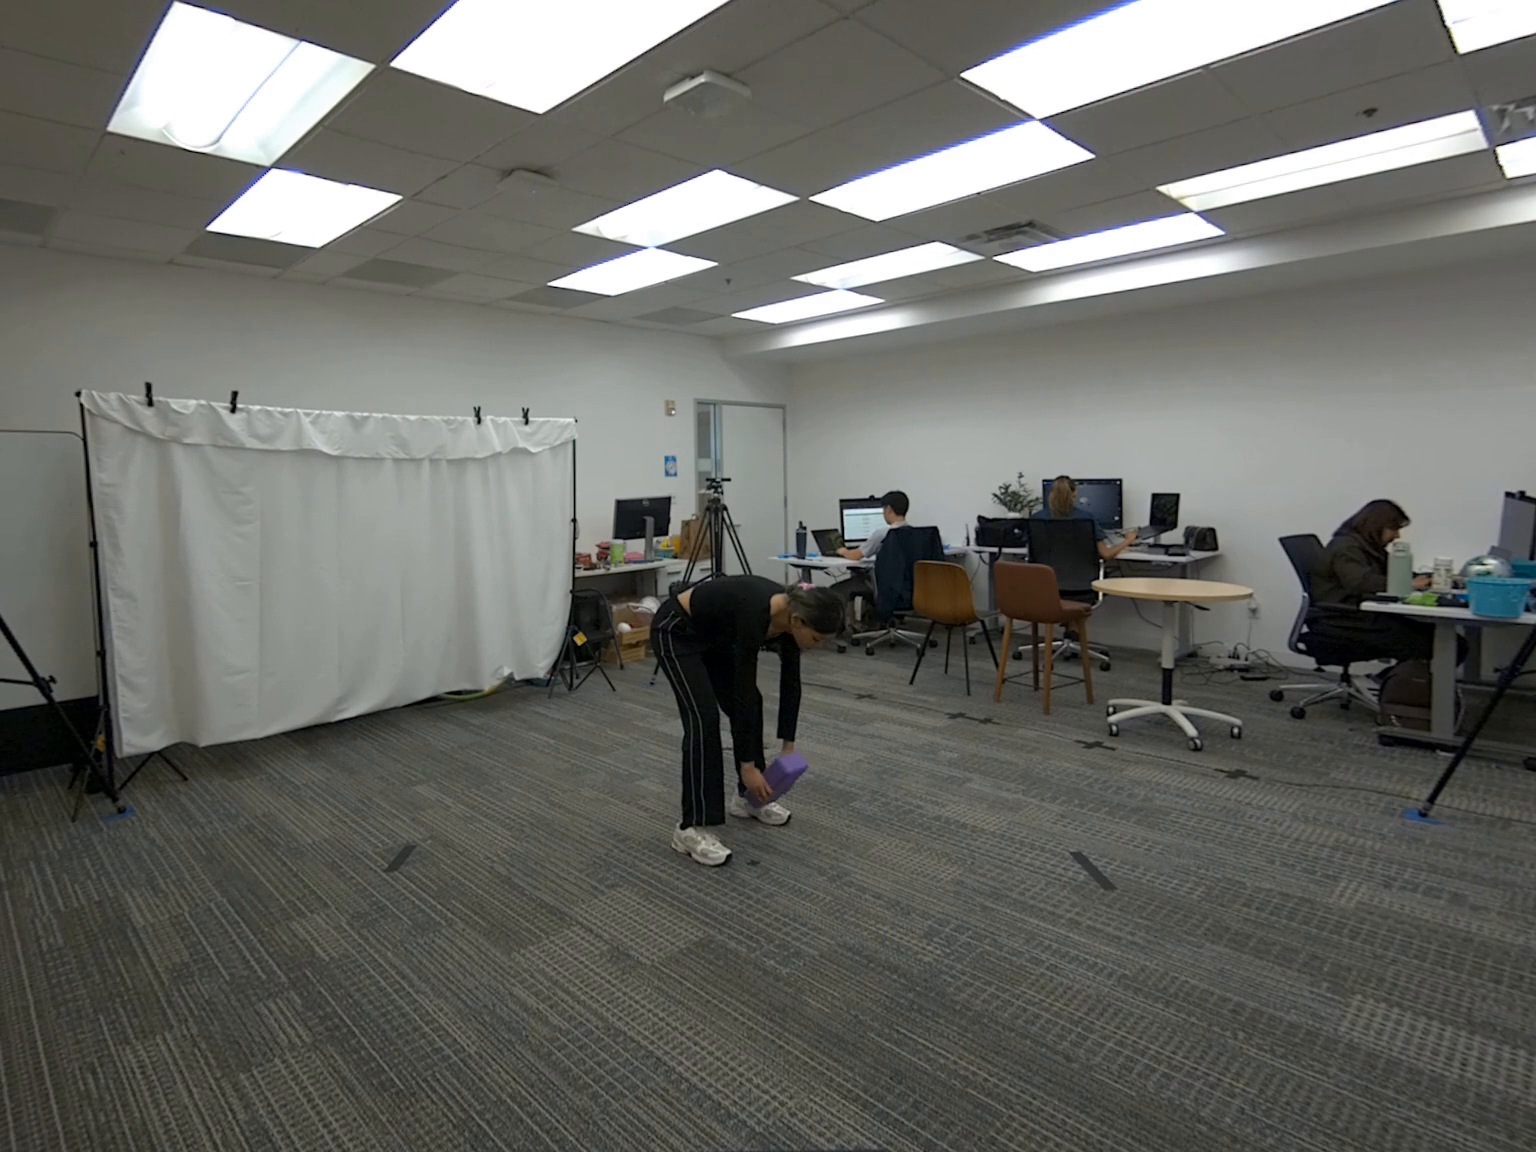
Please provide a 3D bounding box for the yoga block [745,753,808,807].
[{"bbox_3d":[0.030,0.773,3.224,0.145,0.228,0.079,-1,46,-52],"label":"yoga block"}]
